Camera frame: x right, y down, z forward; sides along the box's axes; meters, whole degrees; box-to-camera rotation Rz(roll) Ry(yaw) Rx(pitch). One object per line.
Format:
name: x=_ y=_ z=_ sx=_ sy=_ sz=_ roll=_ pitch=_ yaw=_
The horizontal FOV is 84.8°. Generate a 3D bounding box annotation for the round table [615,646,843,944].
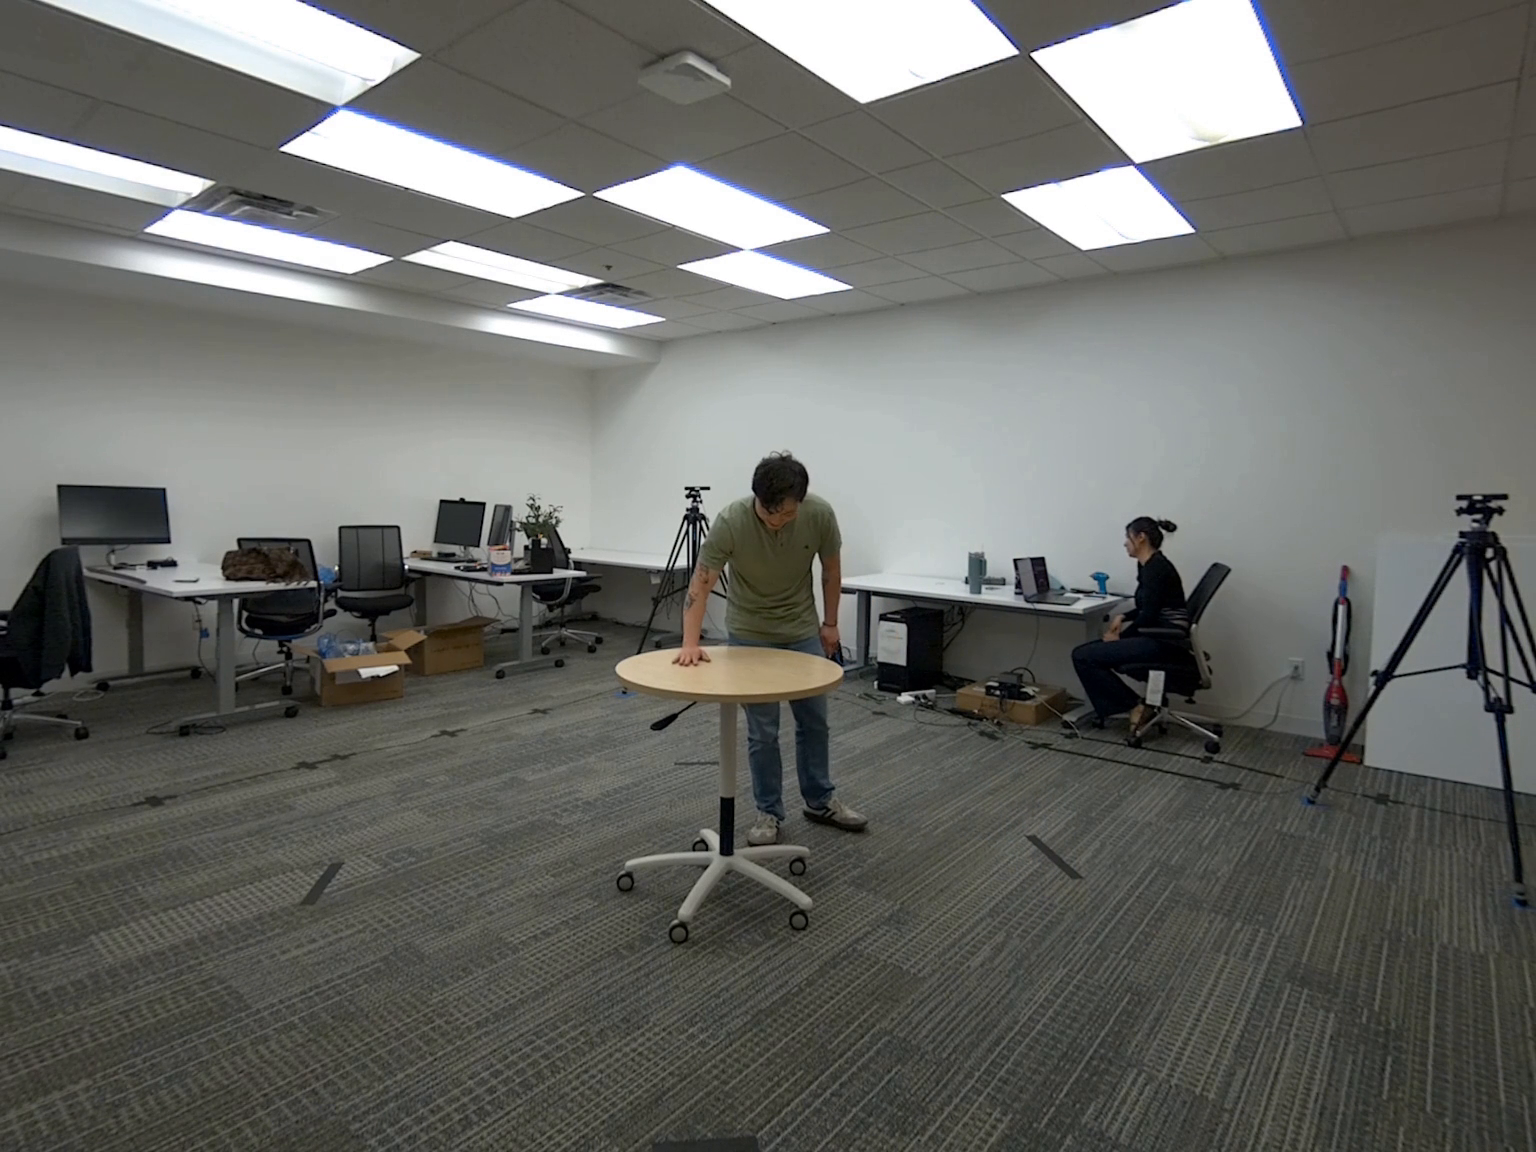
round table: x=-0.148 y=0.699 z=2.891 sx=0.763 sy=0.791 sz=0.768 roll=1 pitch=4 yaw=-2
